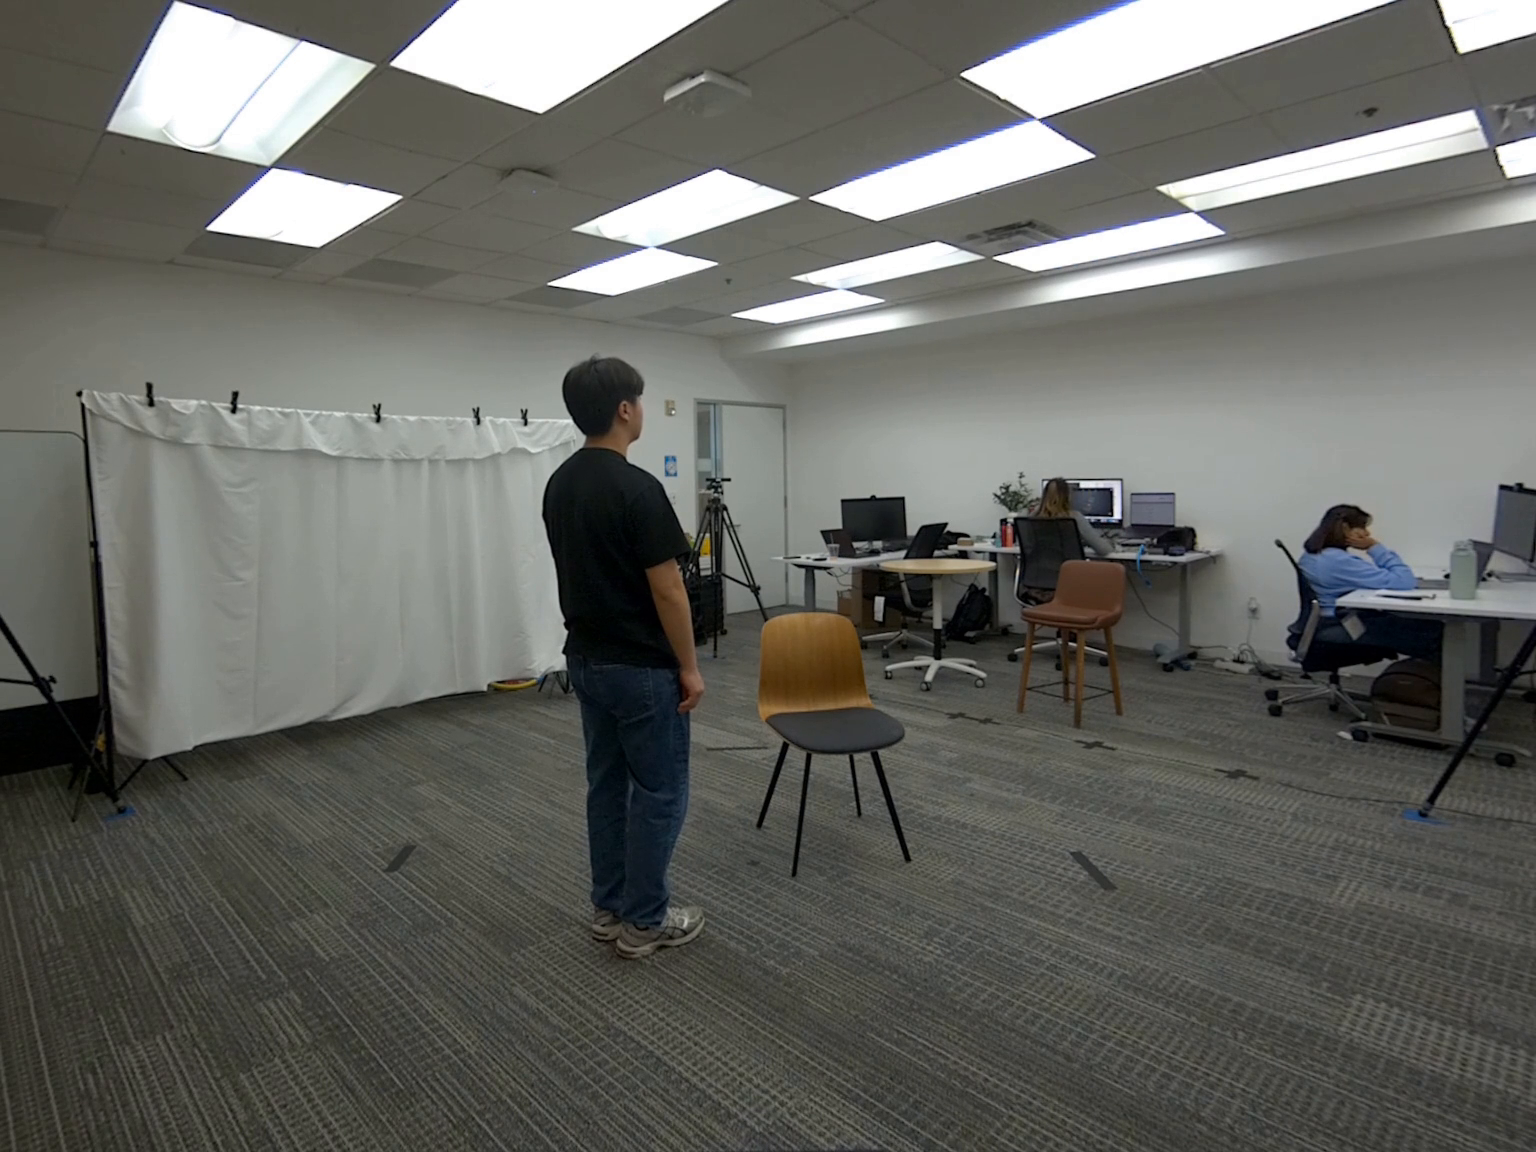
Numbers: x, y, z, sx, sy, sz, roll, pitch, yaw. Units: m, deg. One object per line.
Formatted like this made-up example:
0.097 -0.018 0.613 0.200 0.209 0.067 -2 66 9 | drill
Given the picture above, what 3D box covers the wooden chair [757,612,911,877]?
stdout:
0.231 0.599 3.220 0.471 0.877 0.531 -2 0 -16 | wooden chair
